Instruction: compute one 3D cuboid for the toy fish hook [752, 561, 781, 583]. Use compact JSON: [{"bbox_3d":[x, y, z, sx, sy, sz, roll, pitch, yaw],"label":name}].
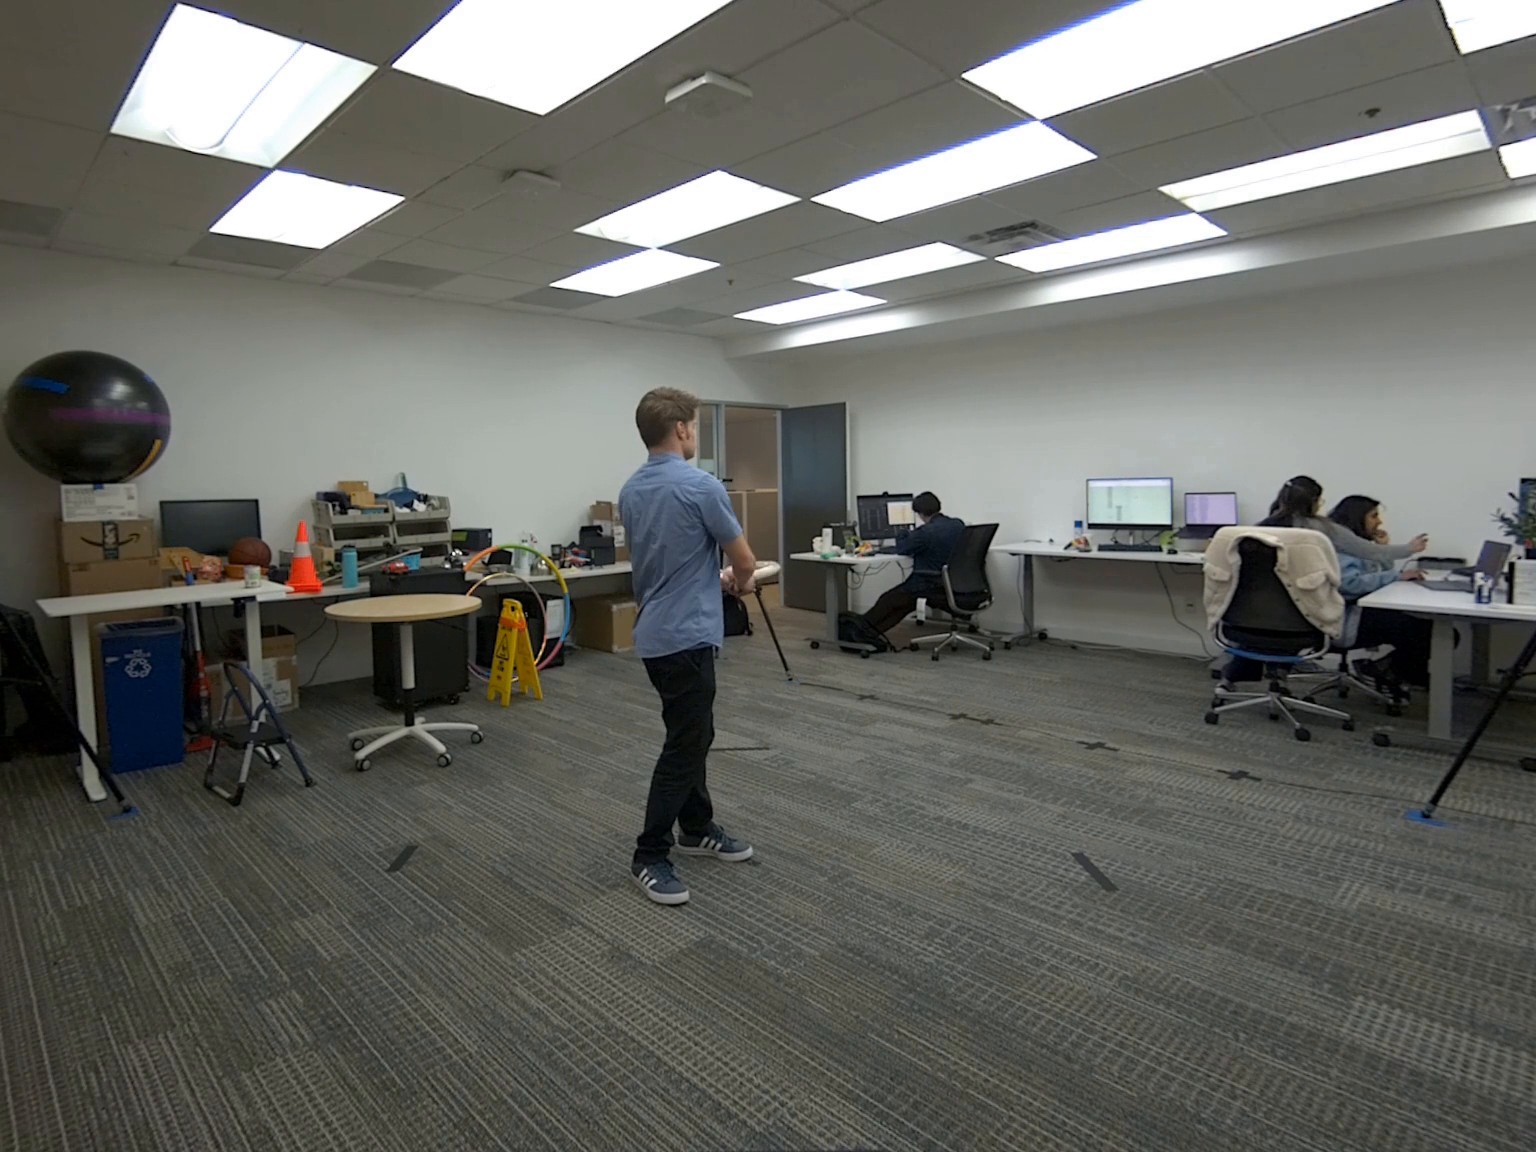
[{"bbox_3d":[-0.107,0.004,3.439,0.228,0.048,0.502,-4,8,17],"label":"toy fish hook"}]
